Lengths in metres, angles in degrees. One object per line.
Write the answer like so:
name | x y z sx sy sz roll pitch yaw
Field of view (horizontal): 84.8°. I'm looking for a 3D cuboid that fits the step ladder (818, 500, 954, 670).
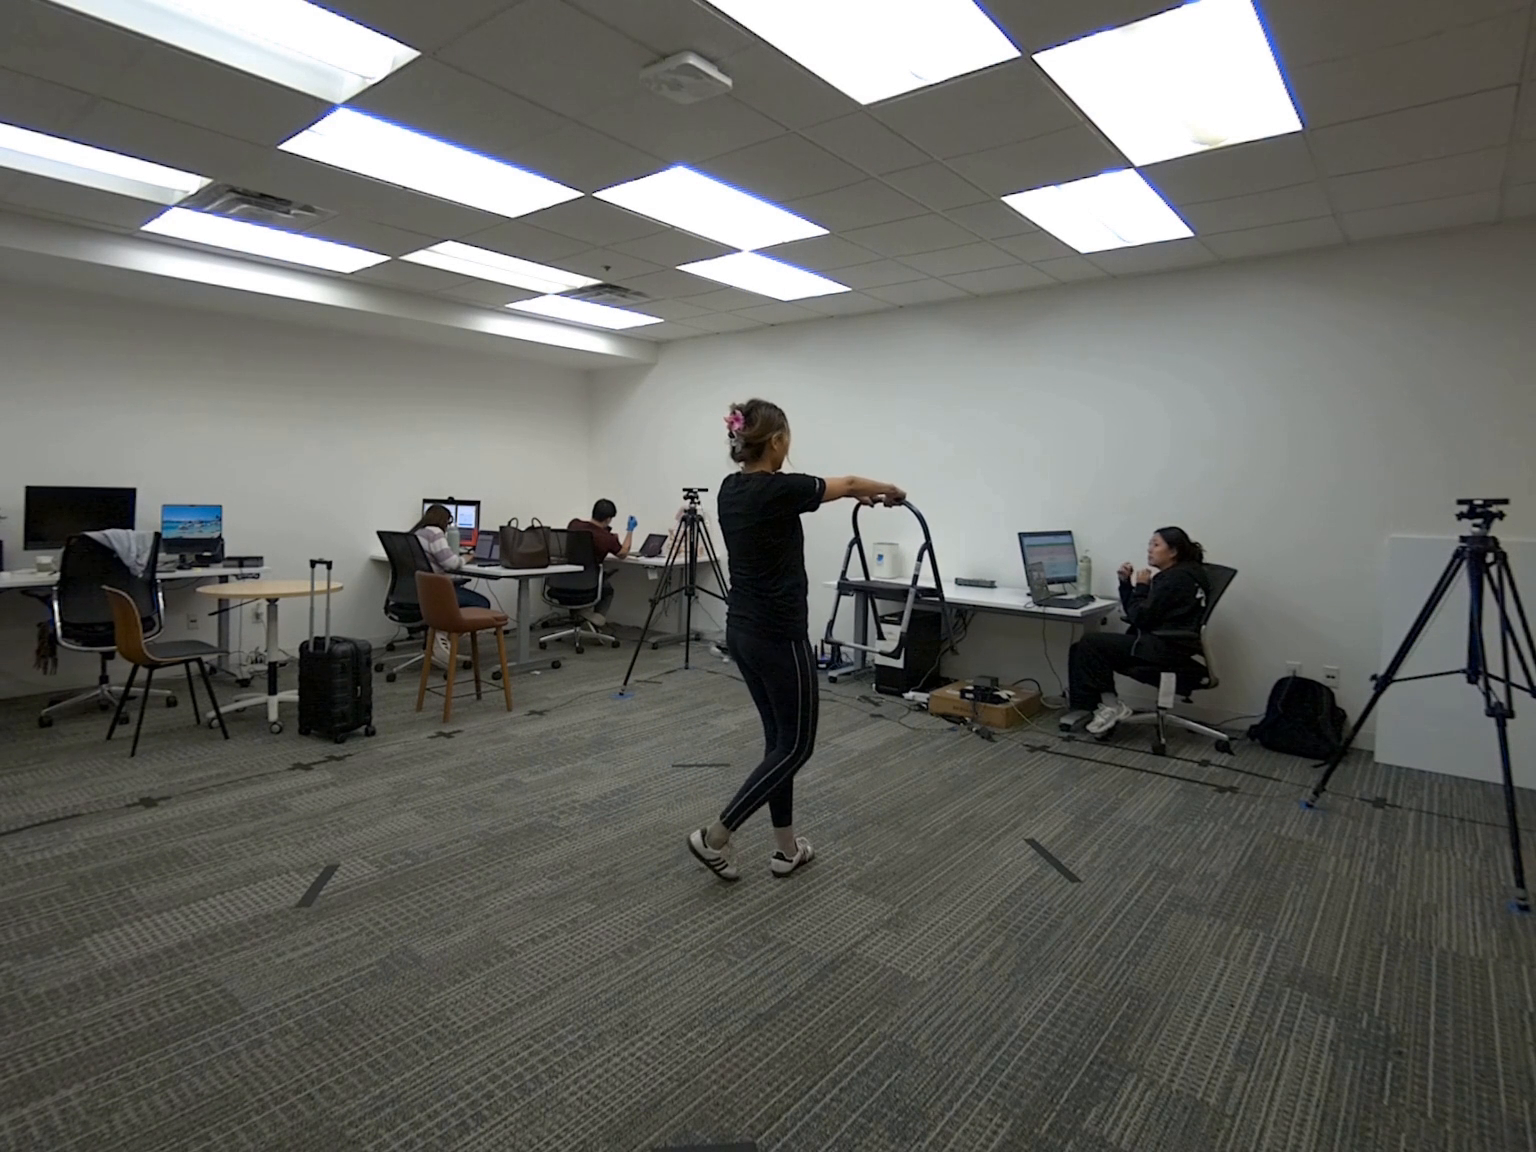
step ladder | 0.485 -0.007 3.400 0.338 0.605 0.445 0 3 -38
